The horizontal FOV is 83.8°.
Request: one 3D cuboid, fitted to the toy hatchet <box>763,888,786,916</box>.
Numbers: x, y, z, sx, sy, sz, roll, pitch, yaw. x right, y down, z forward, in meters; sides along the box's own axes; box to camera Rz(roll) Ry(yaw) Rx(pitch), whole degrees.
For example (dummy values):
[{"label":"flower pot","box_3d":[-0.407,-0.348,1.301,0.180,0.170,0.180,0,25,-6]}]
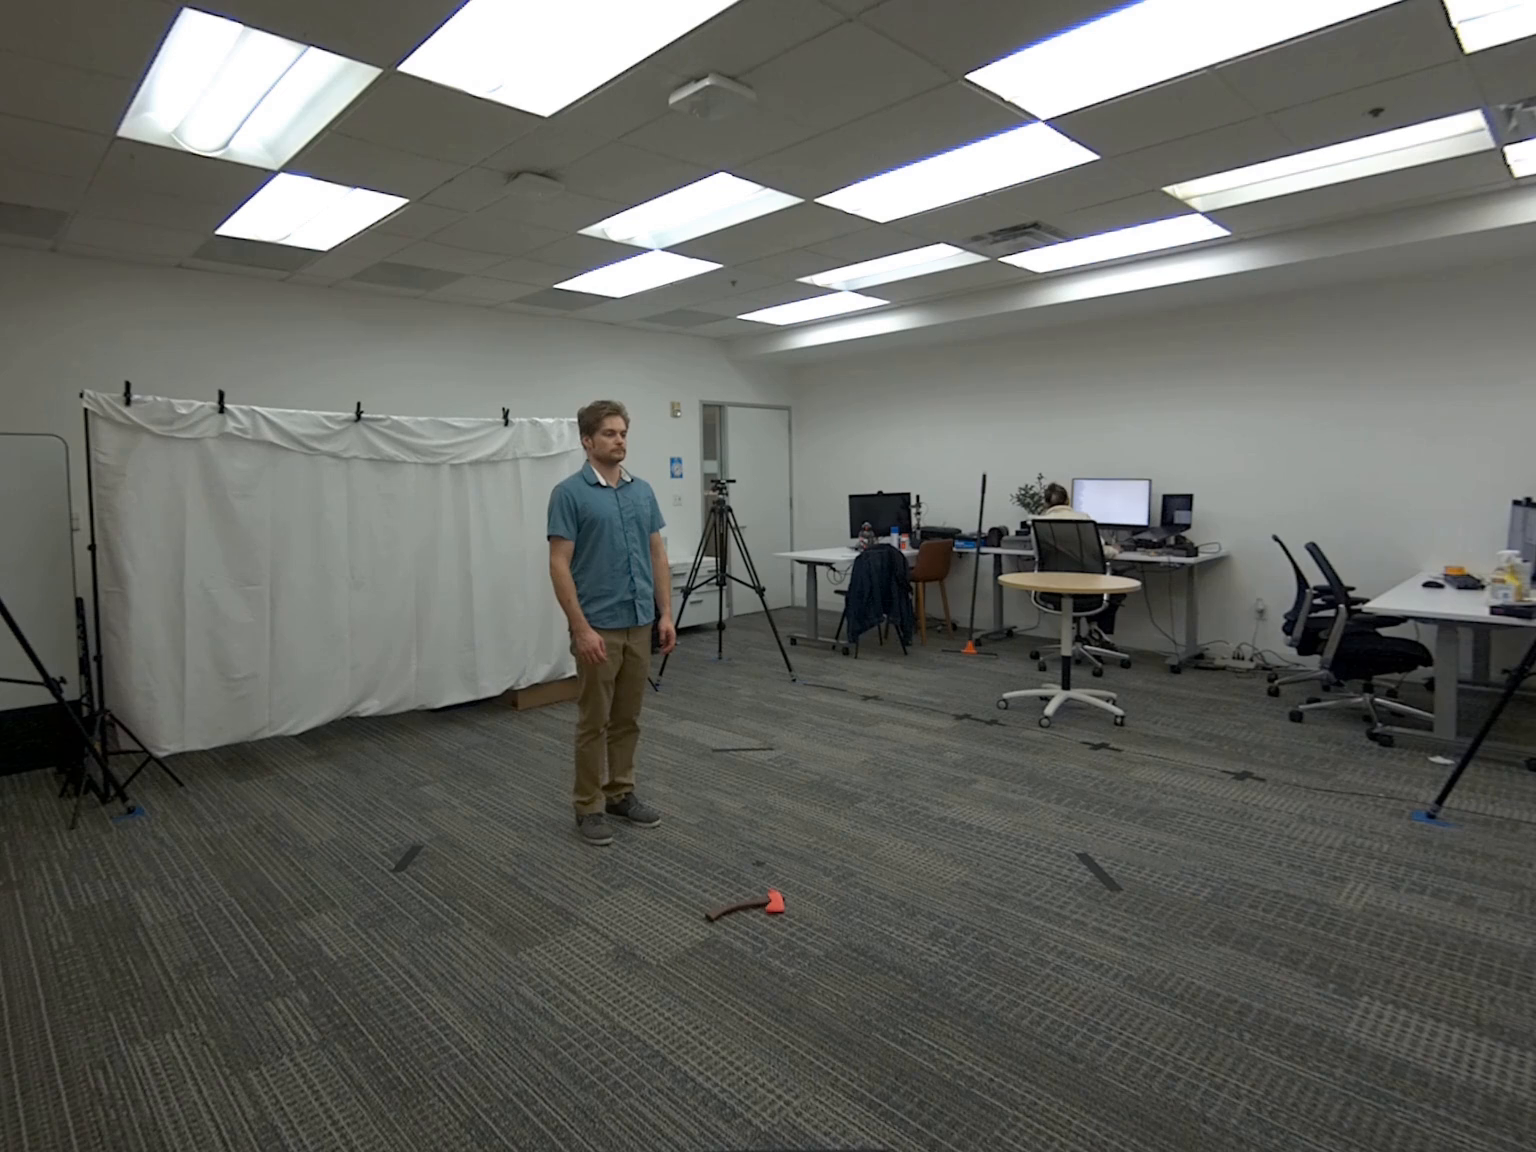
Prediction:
[{"label":"toy hatchet","box_3d":[-0.054,1.078,2.751,0.263,0.029,0.135,-7,12,-34]}]
